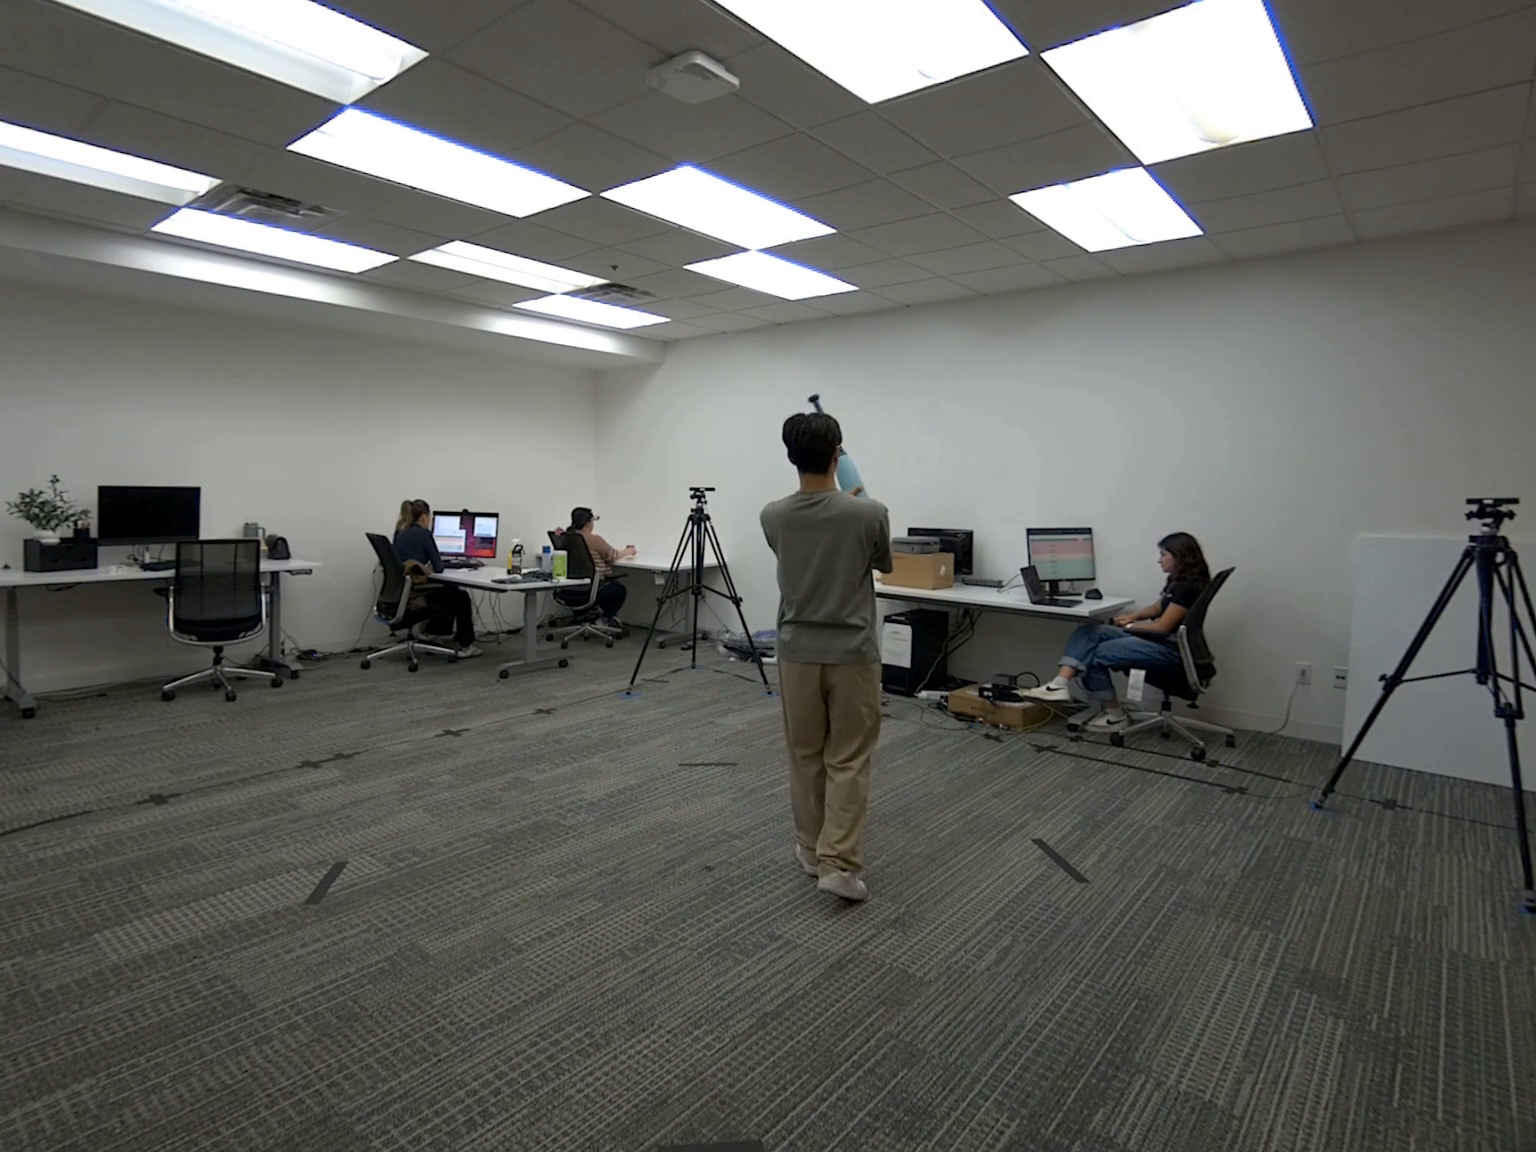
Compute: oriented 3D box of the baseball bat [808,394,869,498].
[{"bbox_3d":[0.288,-0.496,3.510,0.089,0.552,0.088,-20,-12,-6],"label":"baseball bat"}]
